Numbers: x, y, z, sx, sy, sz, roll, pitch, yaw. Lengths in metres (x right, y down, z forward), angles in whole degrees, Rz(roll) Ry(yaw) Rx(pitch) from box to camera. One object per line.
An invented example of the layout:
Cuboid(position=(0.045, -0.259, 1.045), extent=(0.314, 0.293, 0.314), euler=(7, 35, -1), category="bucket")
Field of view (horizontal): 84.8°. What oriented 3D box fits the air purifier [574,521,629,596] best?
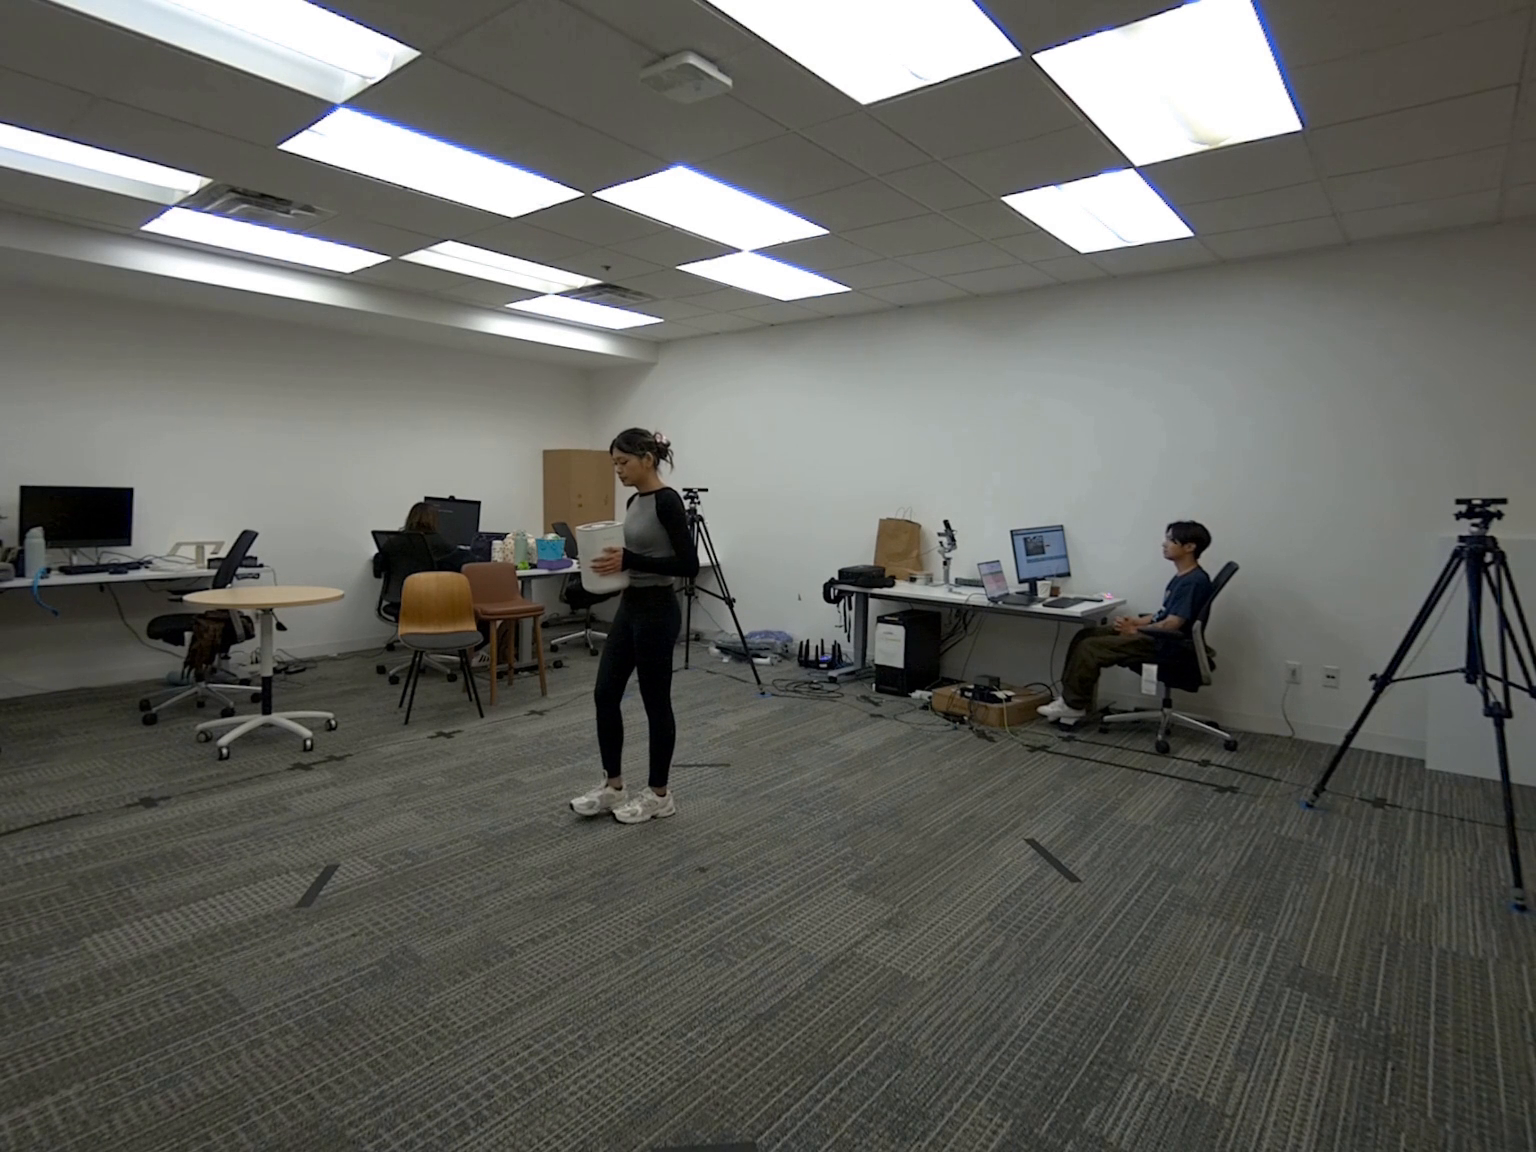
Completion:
Cuboid(position=(-0.684, -0.081, 3.456), extent=(0.167, 0.263, 0.177), euler=(-11, 9, -30), category="air purifier")
